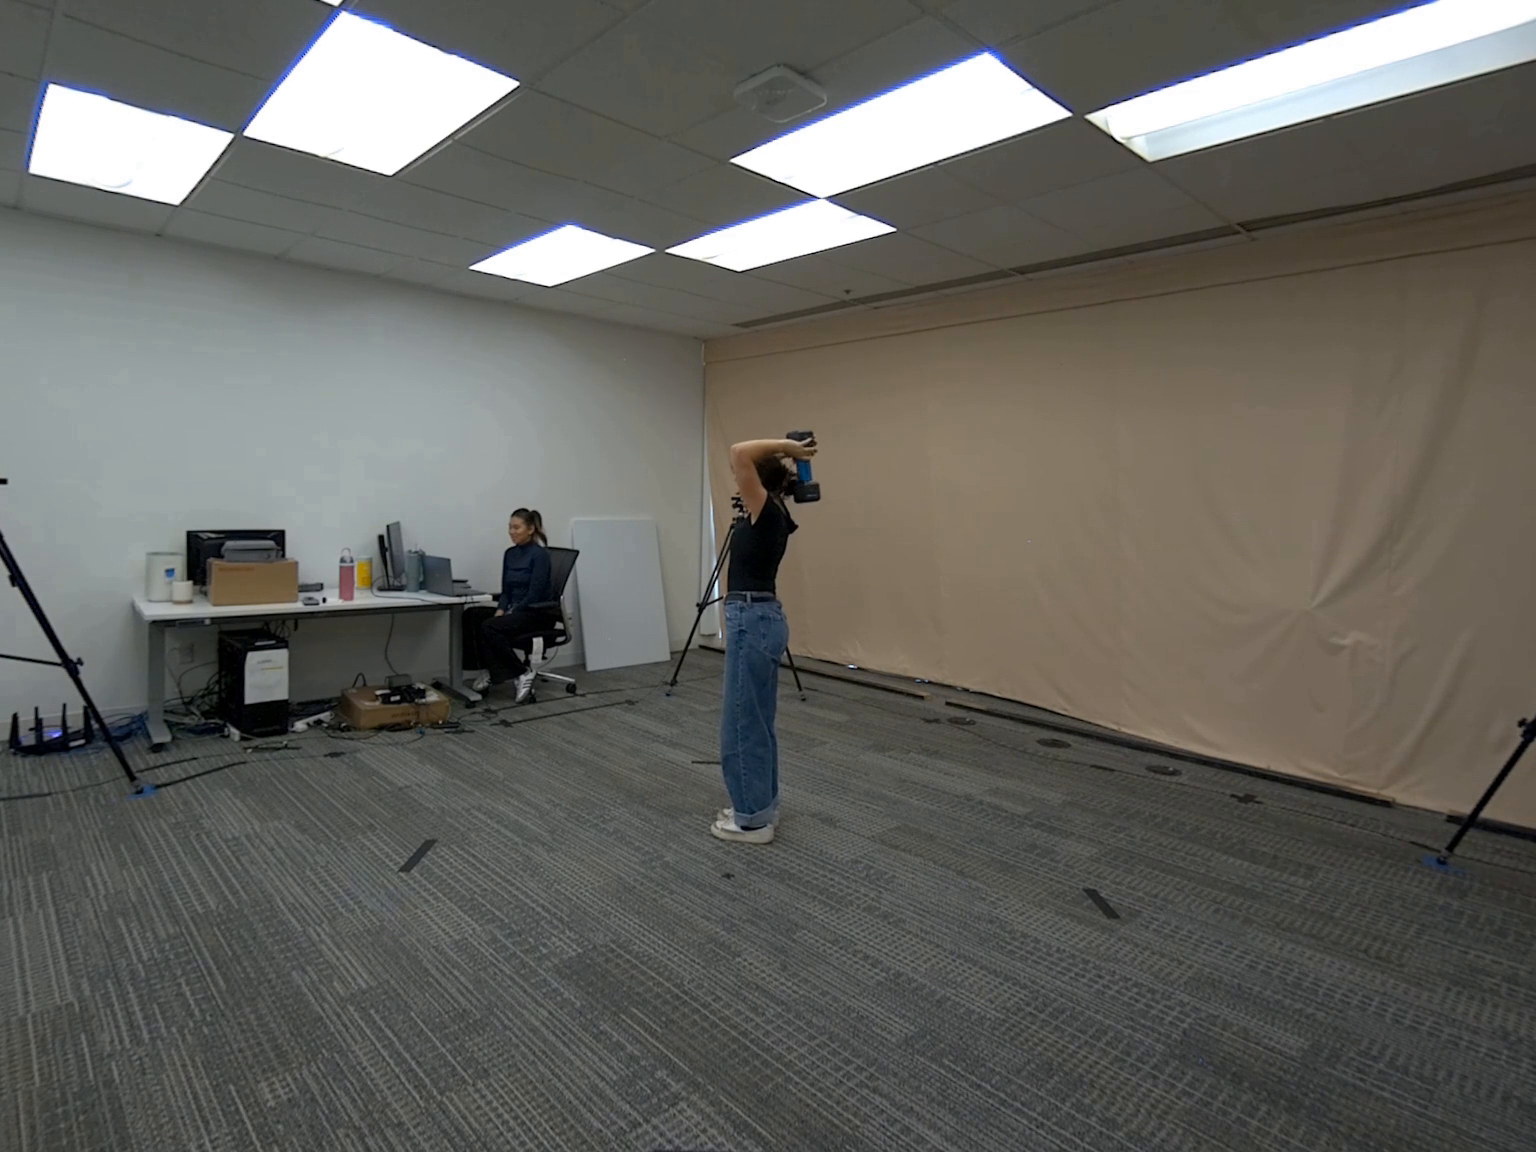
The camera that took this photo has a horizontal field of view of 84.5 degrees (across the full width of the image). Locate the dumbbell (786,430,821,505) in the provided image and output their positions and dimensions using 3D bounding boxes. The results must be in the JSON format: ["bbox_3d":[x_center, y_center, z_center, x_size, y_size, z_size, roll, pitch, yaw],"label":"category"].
[{"bbox_3d":[0.136,-0.446,3.427,0.125,0.293,0.106,-7,0,40],"label":"dumbbell"}]
